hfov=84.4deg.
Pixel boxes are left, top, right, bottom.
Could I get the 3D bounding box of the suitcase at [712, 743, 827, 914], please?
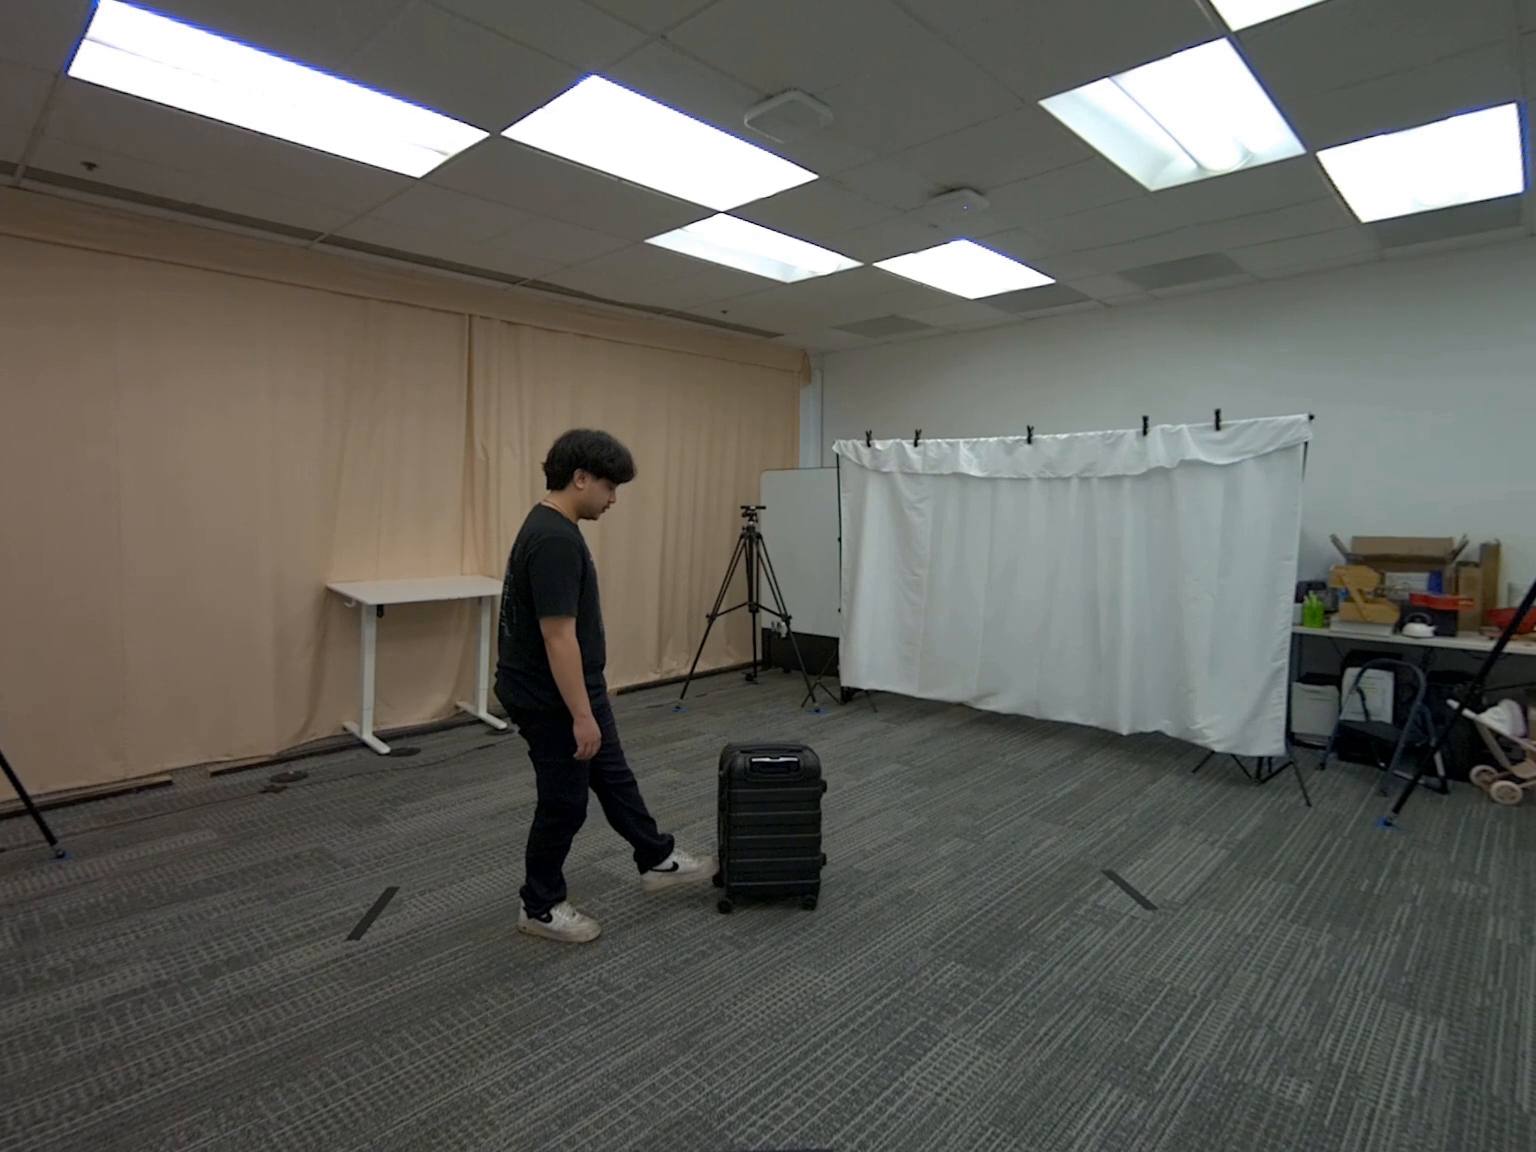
[{"bbox_3d":[0.002,0.869,2.988,0.373,0.548,0.250,0,3,-7],"label":"suitcase"}]
